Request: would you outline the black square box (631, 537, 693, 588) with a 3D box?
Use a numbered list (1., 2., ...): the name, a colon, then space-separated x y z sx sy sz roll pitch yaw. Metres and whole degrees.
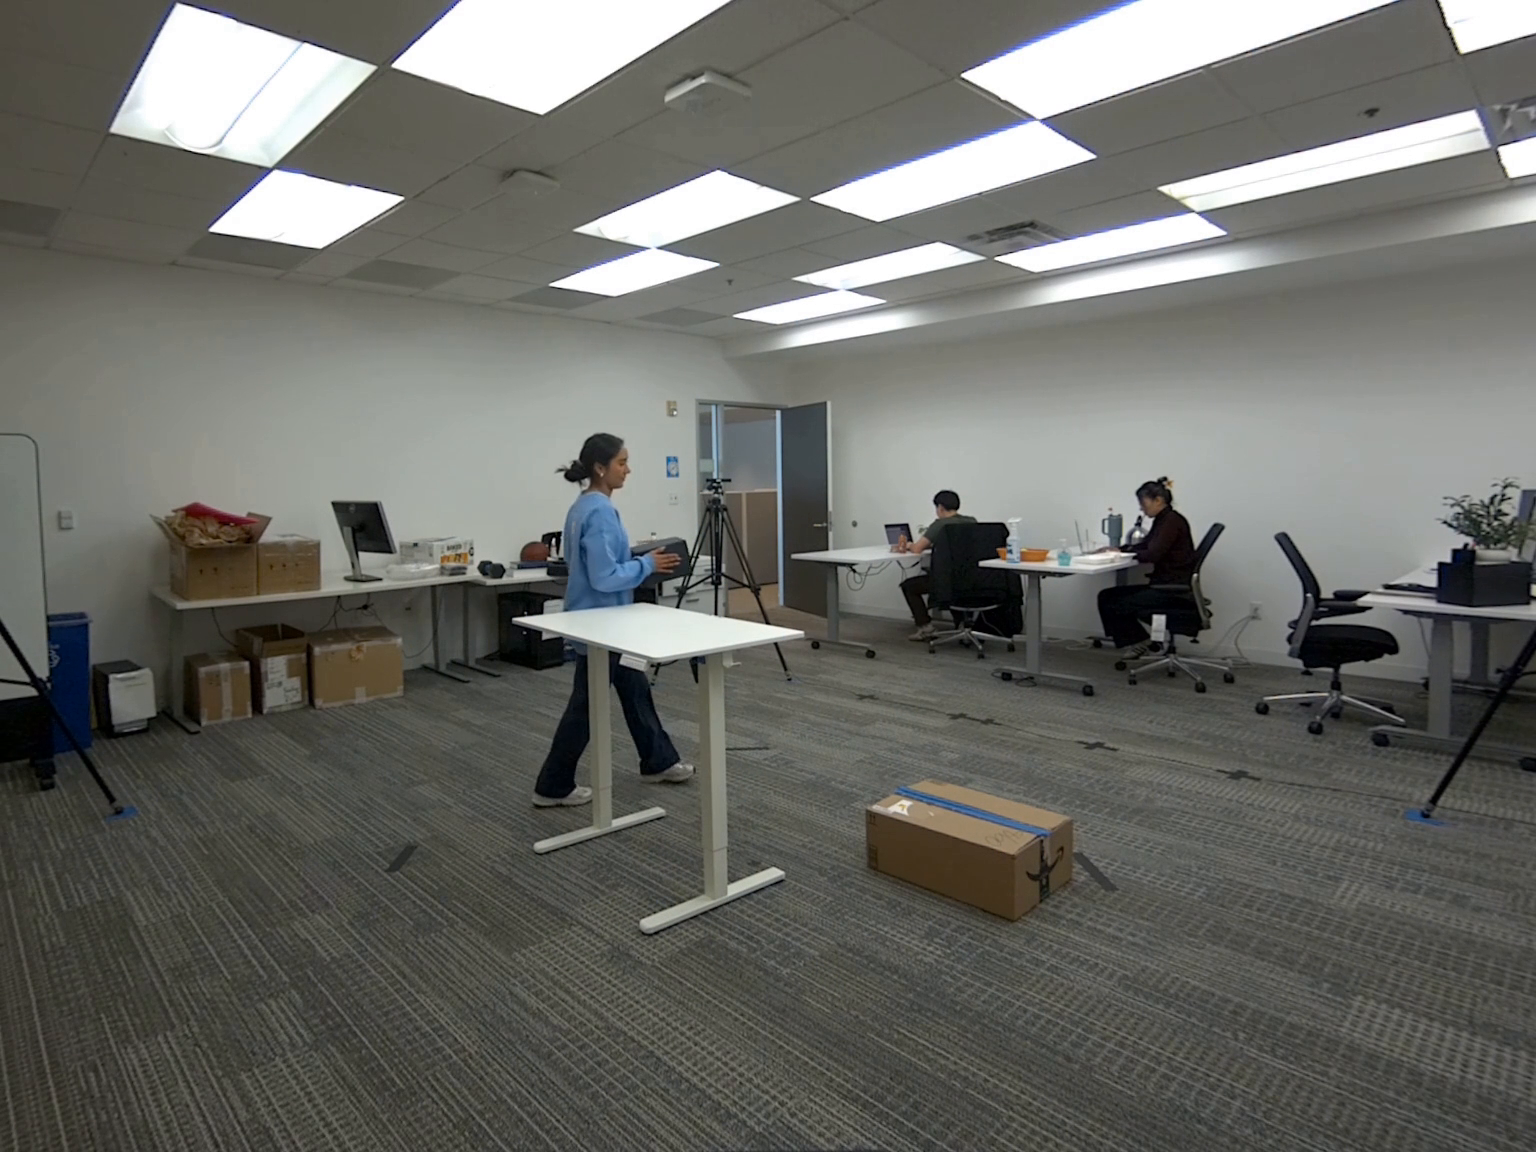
1. black square box: -0.486 -0.073 3.810 0.226 0.154 0.221 -14 10 -13
